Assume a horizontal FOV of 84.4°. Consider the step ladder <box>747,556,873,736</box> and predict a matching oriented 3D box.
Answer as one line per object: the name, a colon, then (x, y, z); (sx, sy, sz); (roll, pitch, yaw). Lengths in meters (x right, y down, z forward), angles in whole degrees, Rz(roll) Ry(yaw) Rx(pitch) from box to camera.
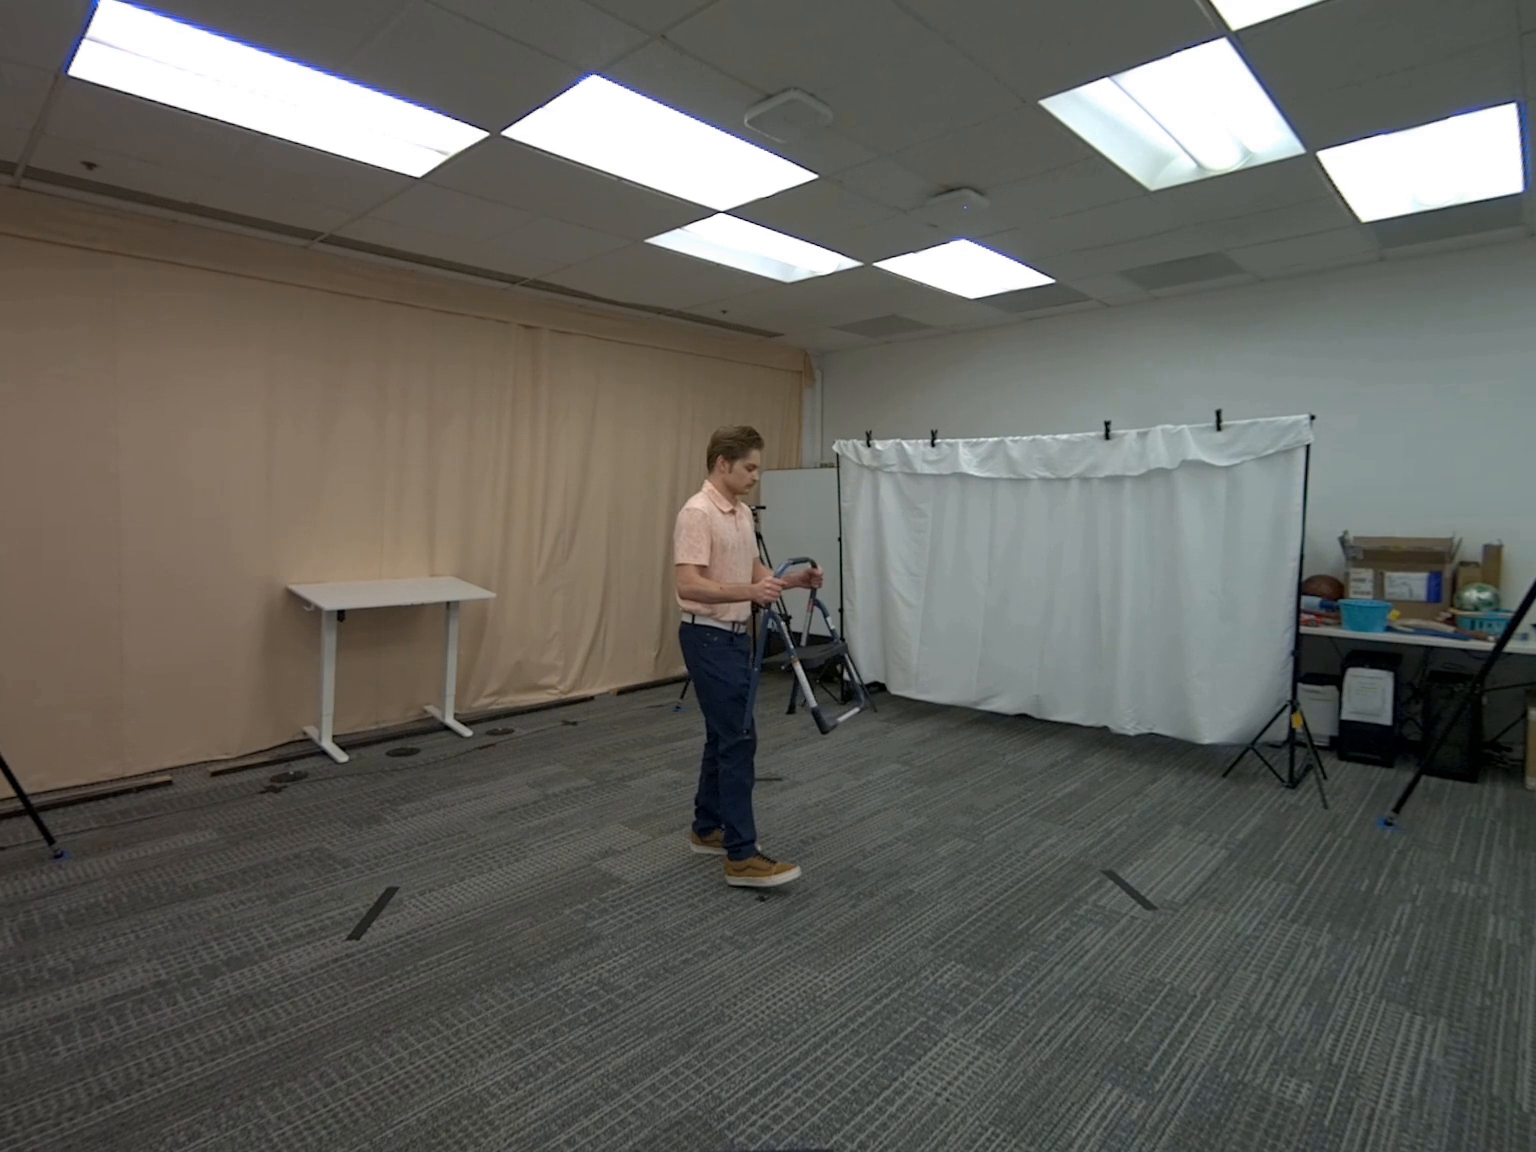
step ladder: (0.101, 0.248, 3.104); (0.357, 0.607, 0.420); (-11, -1, 28)
